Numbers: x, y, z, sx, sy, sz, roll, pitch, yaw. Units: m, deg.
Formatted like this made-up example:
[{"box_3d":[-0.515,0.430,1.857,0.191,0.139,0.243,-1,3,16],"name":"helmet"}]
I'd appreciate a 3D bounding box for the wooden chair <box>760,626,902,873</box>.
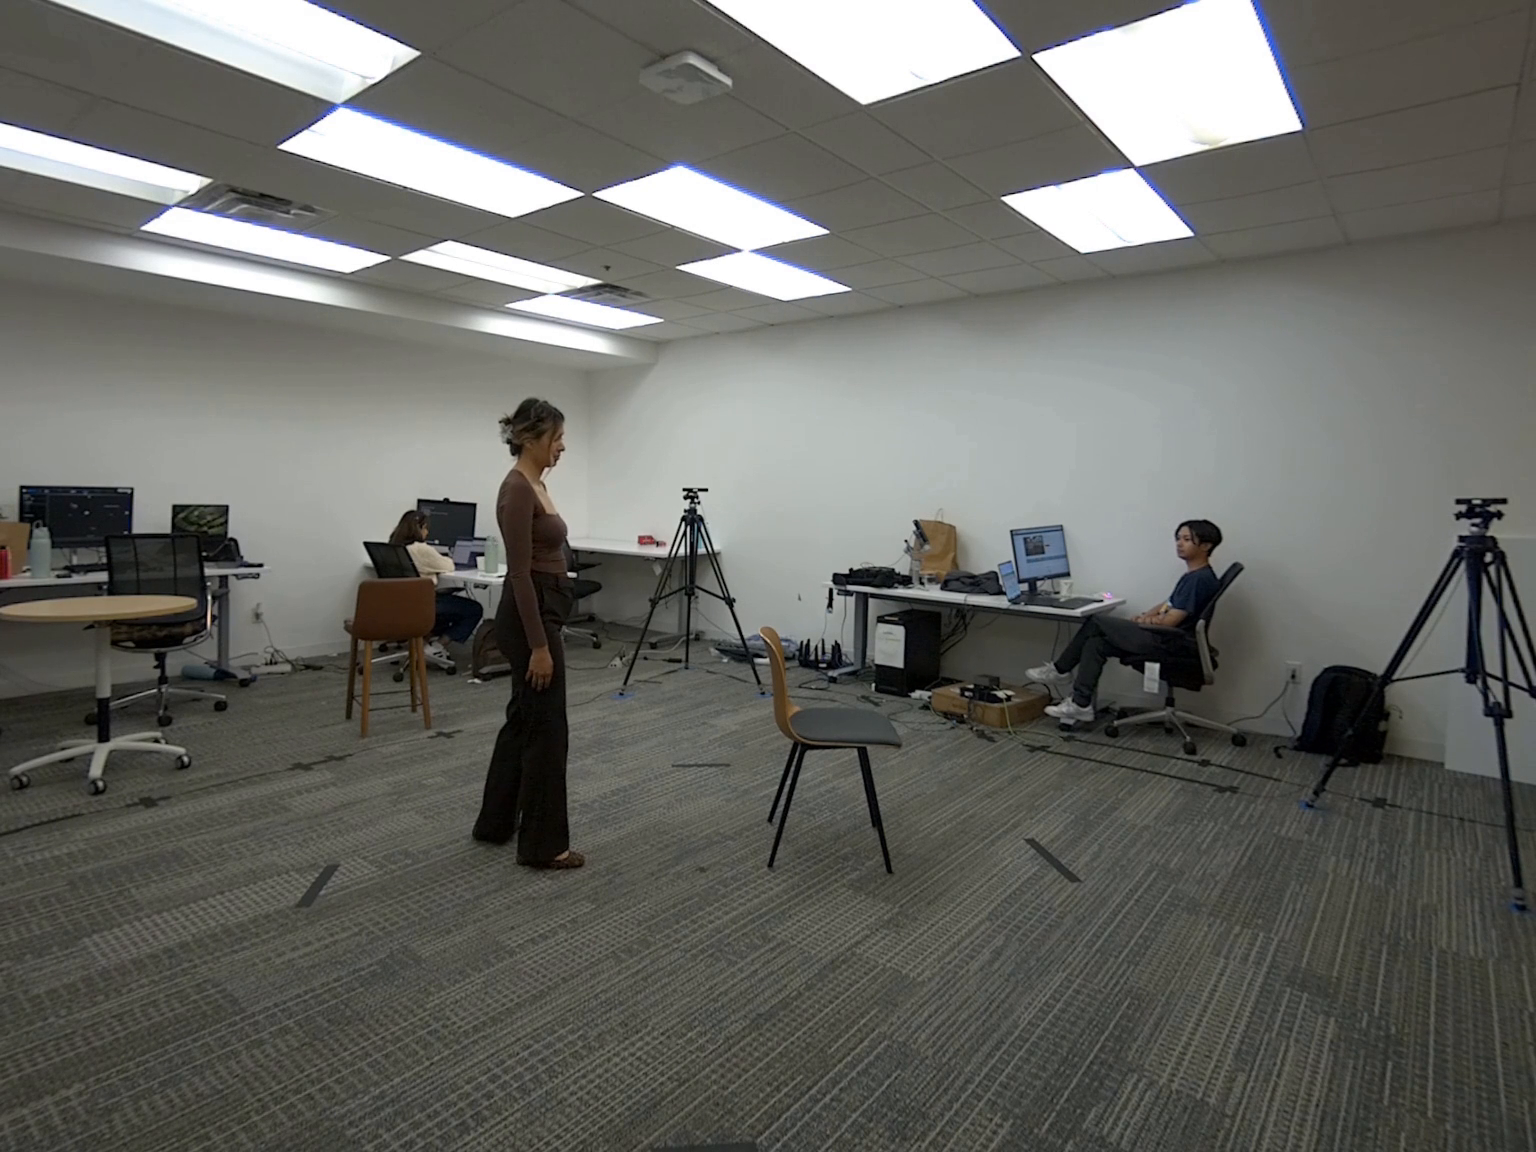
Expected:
[{"box_3d":[0.238,0.630,3.305,0.525,0.875,0.478,-3,3,2],"name":"wooden chair"}]
